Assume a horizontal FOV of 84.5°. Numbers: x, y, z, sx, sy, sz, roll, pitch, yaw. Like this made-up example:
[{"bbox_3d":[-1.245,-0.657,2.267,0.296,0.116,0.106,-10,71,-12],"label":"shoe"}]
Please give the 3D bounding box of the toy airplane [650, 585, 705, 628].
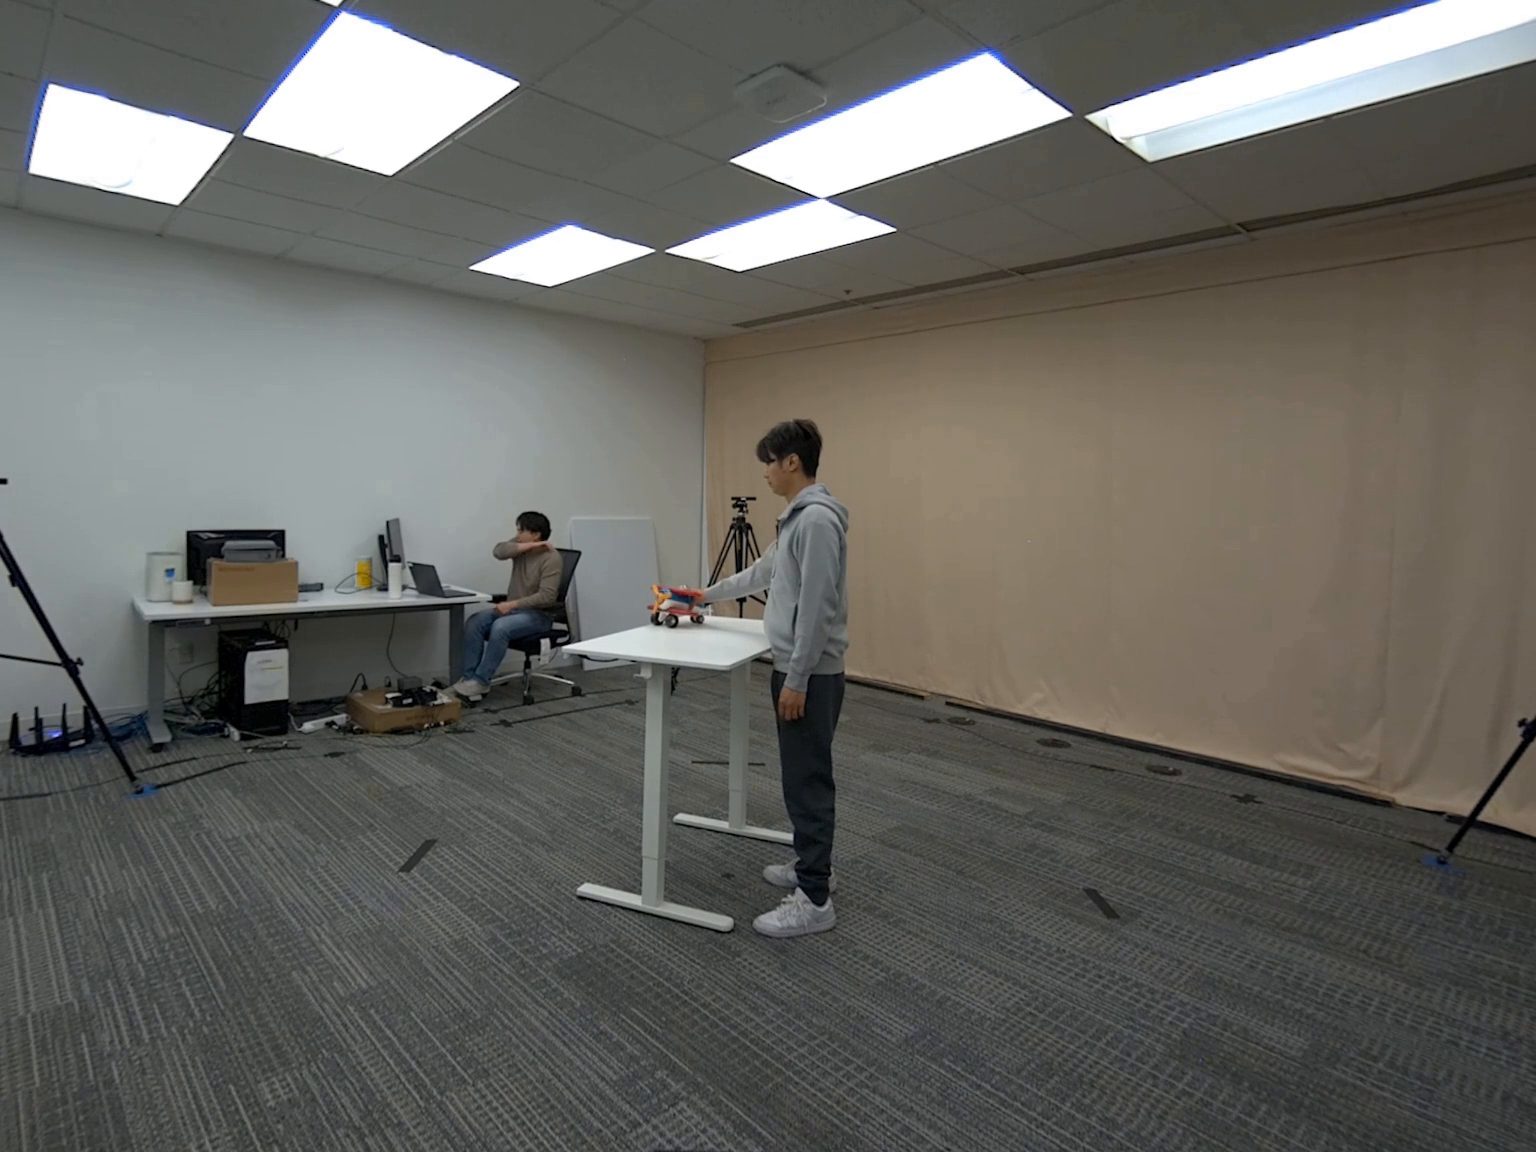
[{"bbox_3d":[-0.372,0.120,3.383,0.254,0.156,0.257,4,6,15],"label":"toy airplane"}]
